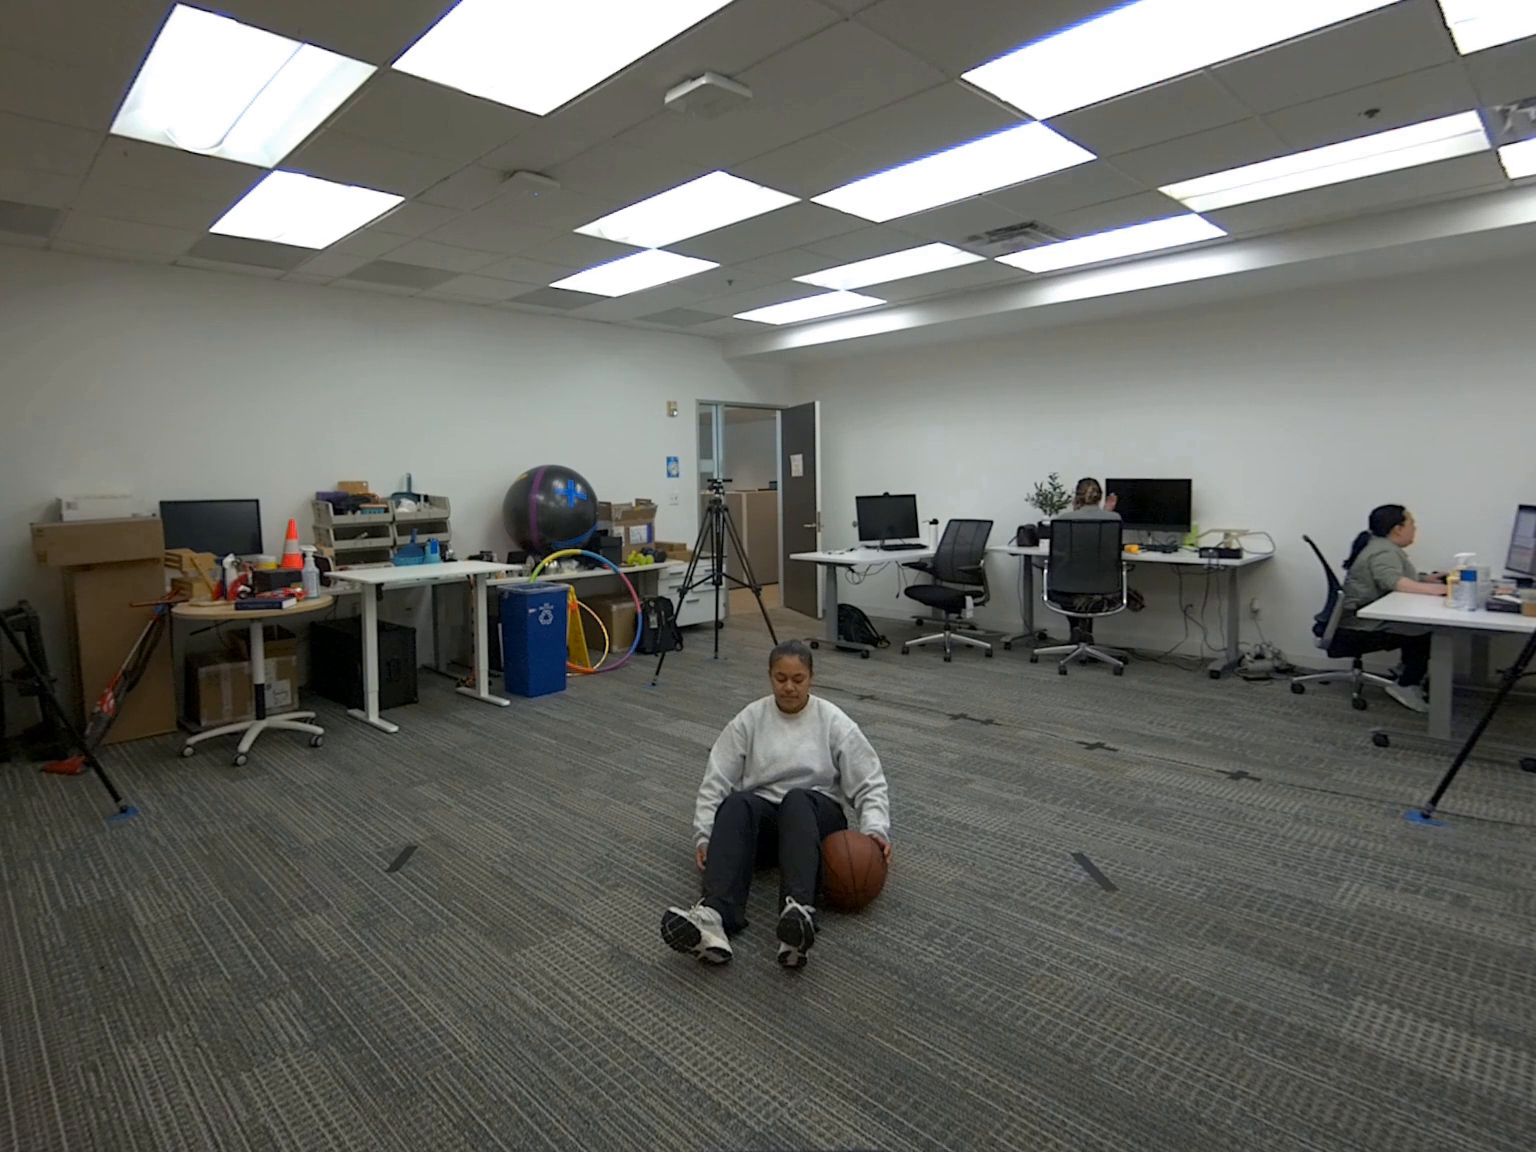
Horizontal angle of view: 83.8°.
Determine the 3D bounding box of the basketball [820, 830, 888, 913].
[{"bbox_3d":[0.244,0.953,2.782,0.236,0.235,0.237,-1,5,-2],"label":"basketball"}]
